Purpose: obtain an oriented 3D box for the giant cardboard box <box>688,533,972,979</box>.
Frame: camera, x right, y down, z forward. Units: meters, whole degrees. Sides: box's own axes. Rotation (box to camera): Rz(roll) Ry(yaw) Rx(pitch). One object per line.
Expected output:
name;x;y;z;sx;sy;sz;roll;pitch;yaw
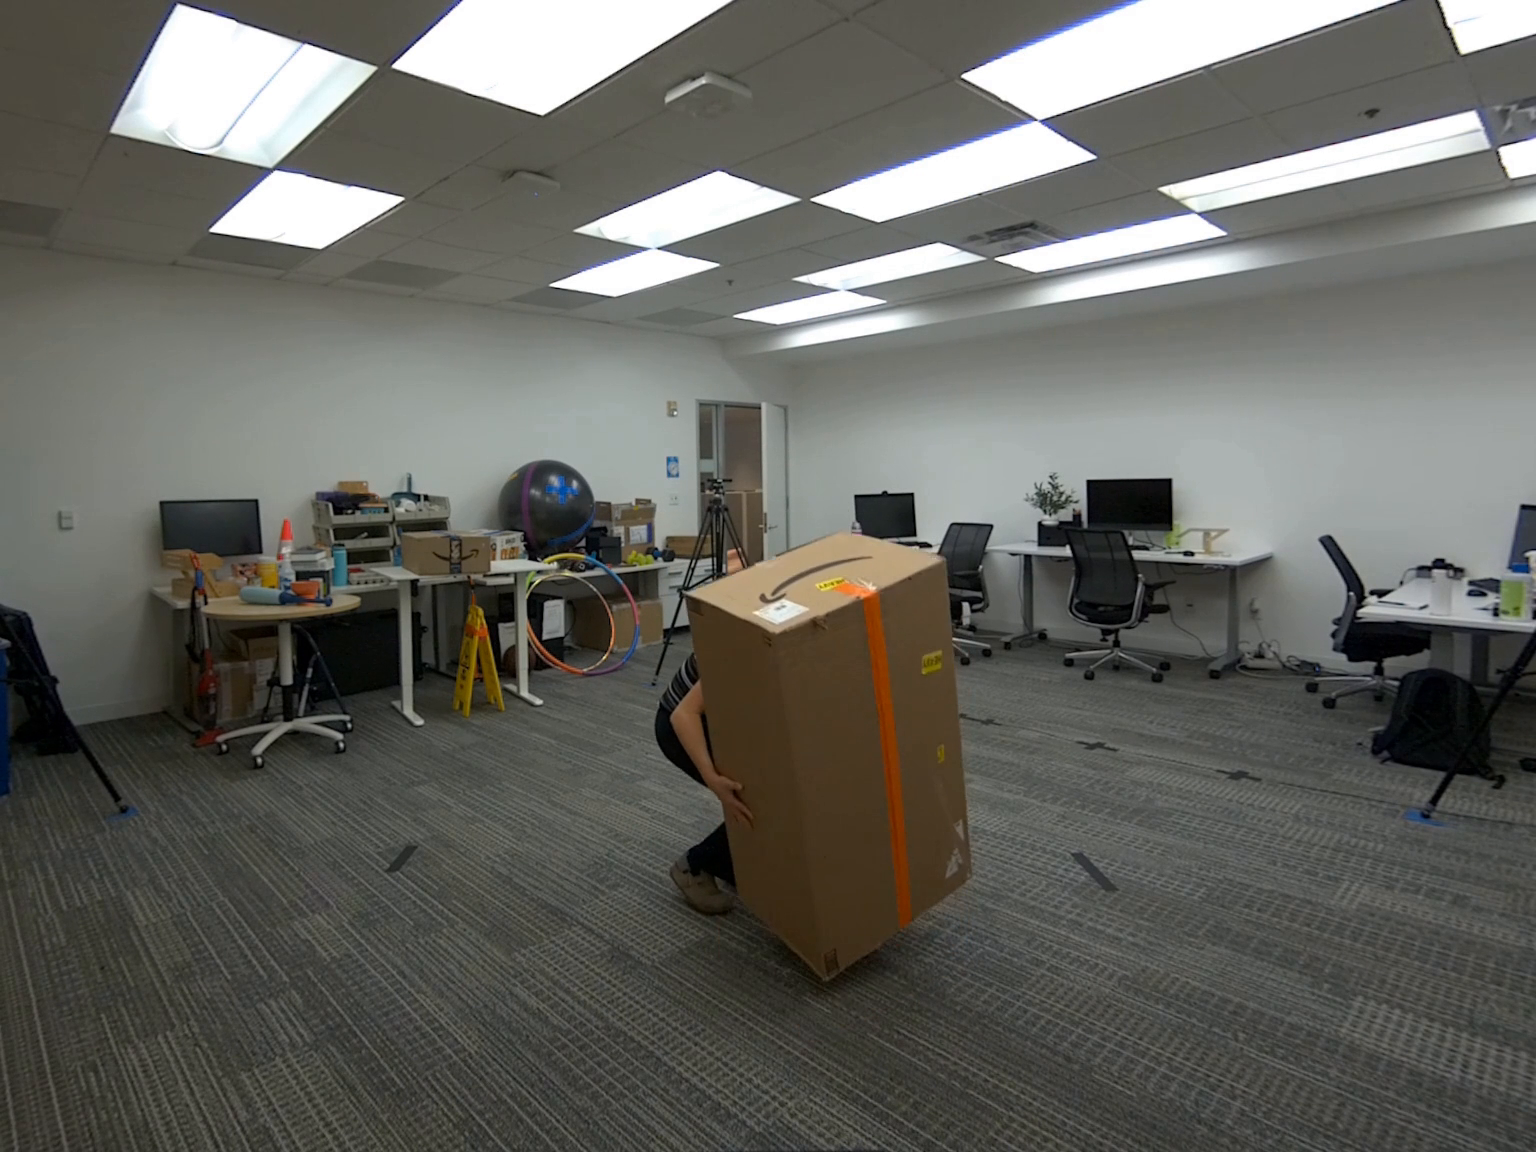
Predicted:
giant cardboard box;0.193;0.462;2.420;0.568;1.007;0.441;-20;21;-30
